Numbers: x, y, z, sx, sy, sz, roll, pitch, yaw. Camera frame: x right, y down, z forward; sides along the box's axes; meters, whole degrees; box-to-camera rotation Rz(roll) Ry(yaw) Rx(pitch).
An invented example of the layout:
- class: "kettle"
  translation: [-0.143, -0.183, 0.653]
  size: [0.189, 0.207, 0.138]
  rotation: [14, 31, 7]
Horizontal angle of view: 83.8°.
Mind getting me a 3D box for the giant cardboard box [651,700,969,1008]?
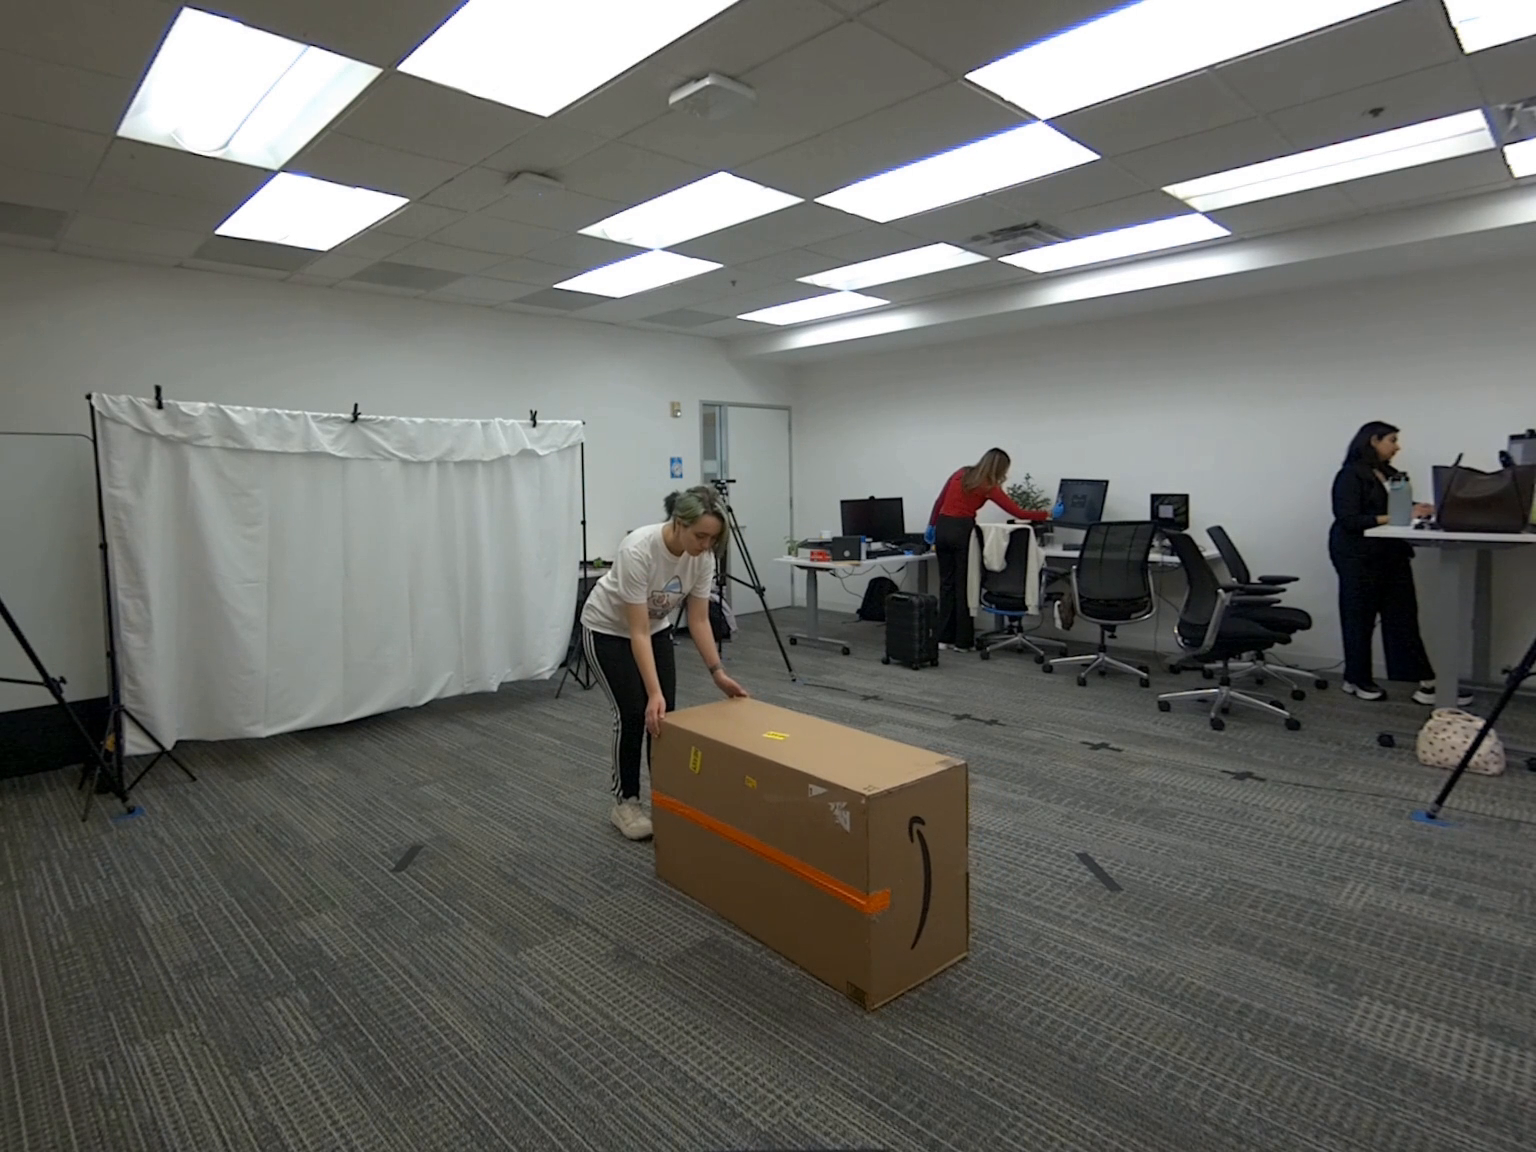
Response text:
- class: "giant cardboard box"
  translation: [0.091, 0.799, 2.741]
  size: [0.435, 0.581, 1.058]
  rotation: [-6, 7, -39]
